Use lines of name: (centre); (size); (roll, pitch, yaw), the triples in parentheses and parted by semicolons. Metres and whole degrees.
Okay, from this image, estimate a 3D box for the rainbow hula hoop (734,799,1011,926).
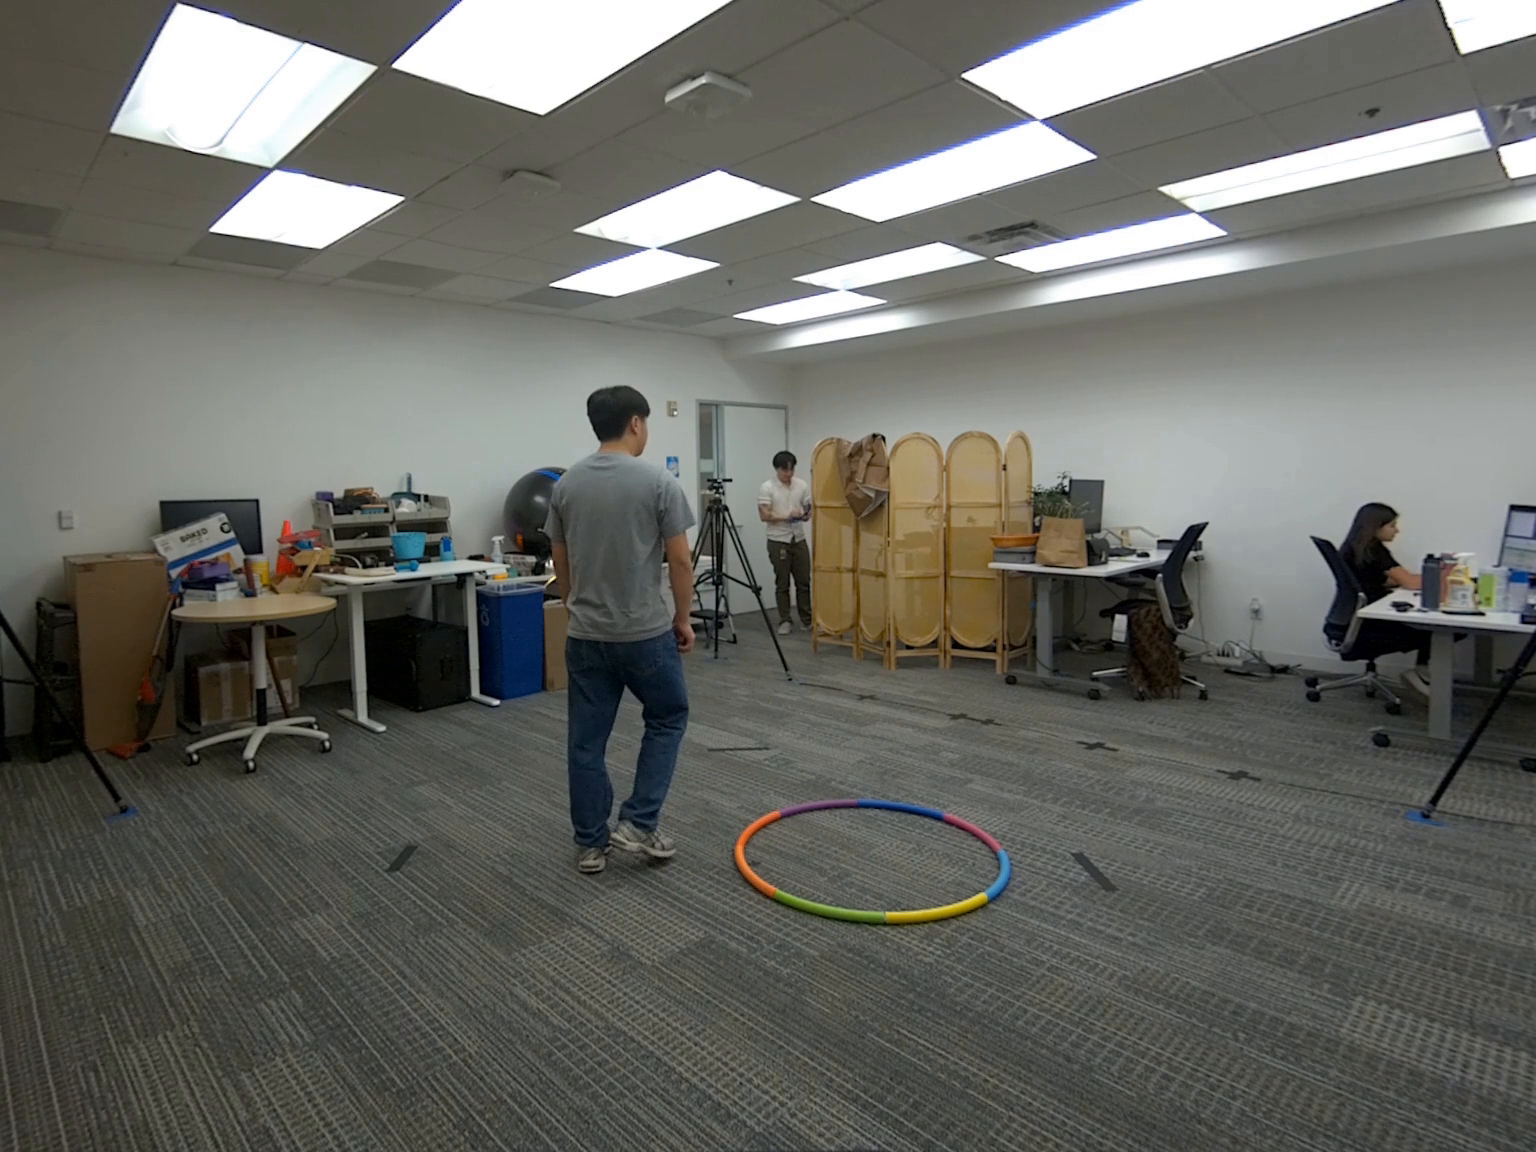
rainbow hula hoop: (0.365, 1.001, 3.148); (0.978, 0.035, 0.984); (-2, 6, -2)
